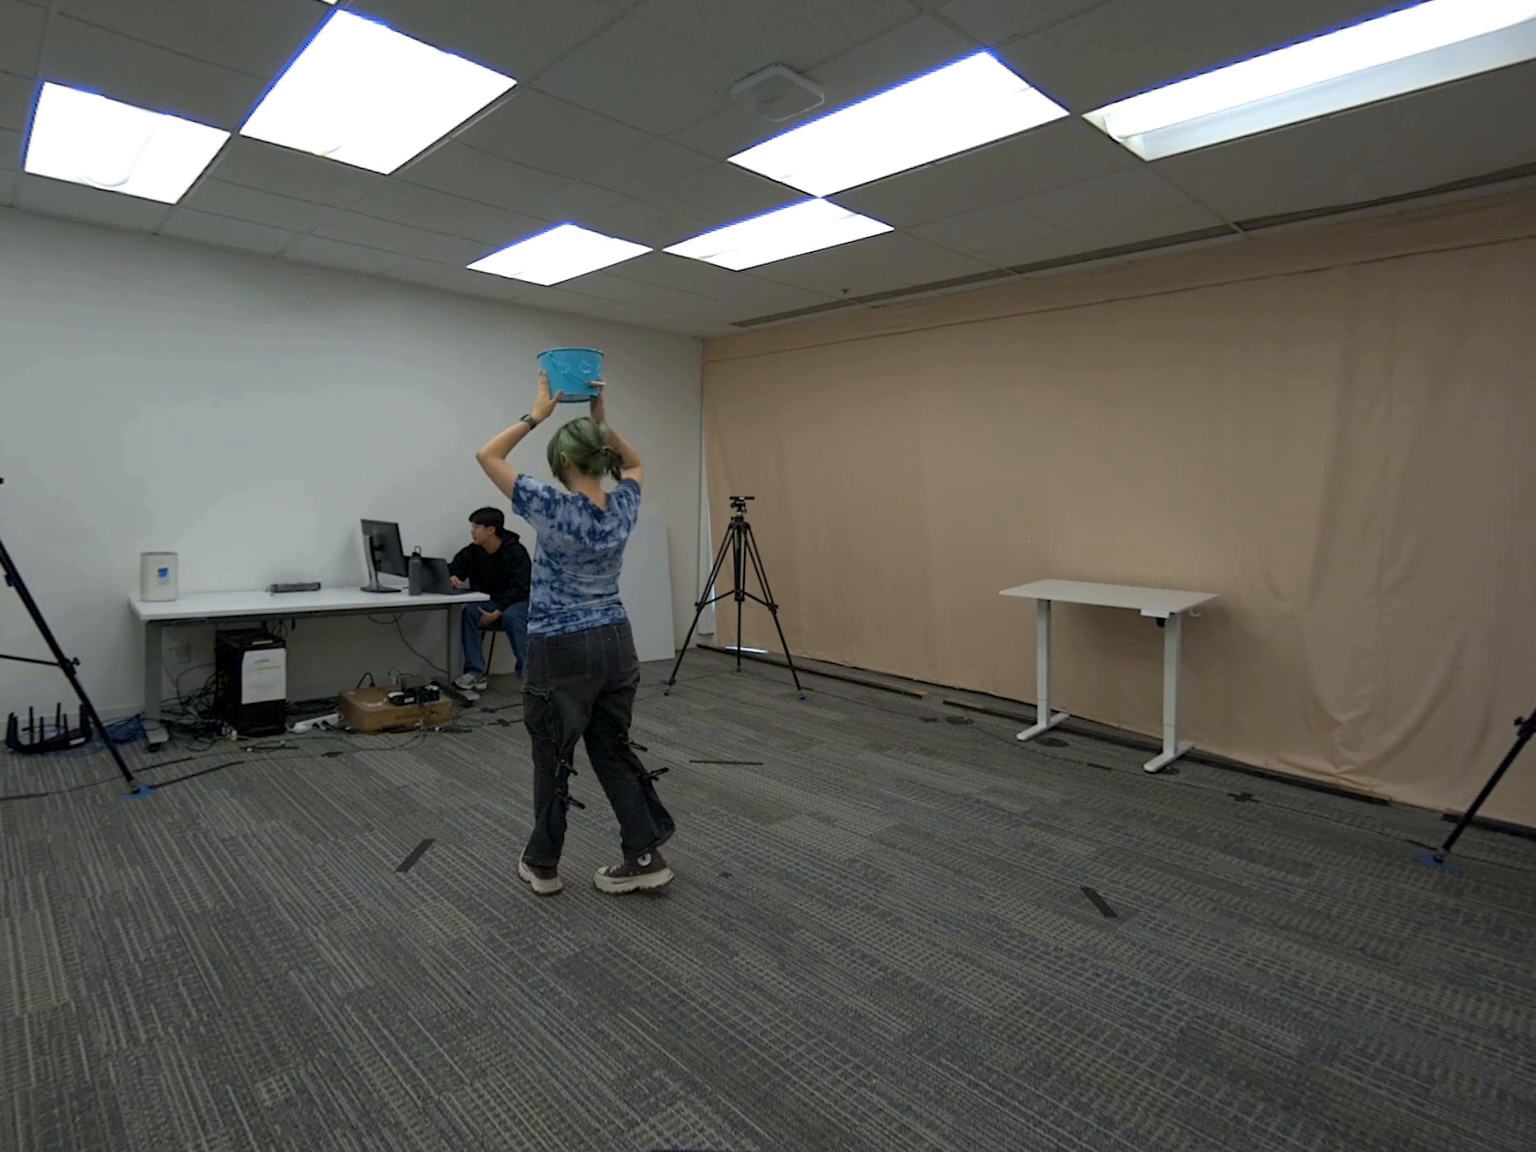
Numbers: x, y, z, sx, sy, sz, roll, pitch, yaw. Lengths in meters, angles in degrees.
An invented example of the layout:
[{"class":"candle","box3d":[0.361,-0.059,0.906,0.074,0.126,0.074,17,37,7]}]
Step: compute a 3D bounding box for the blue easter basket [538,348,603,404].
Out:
[{"class":"blue easter basket","box3d":[-0.706,-0.704,2.949,0.243,0.156,0.244,-3,0,-1]}]
